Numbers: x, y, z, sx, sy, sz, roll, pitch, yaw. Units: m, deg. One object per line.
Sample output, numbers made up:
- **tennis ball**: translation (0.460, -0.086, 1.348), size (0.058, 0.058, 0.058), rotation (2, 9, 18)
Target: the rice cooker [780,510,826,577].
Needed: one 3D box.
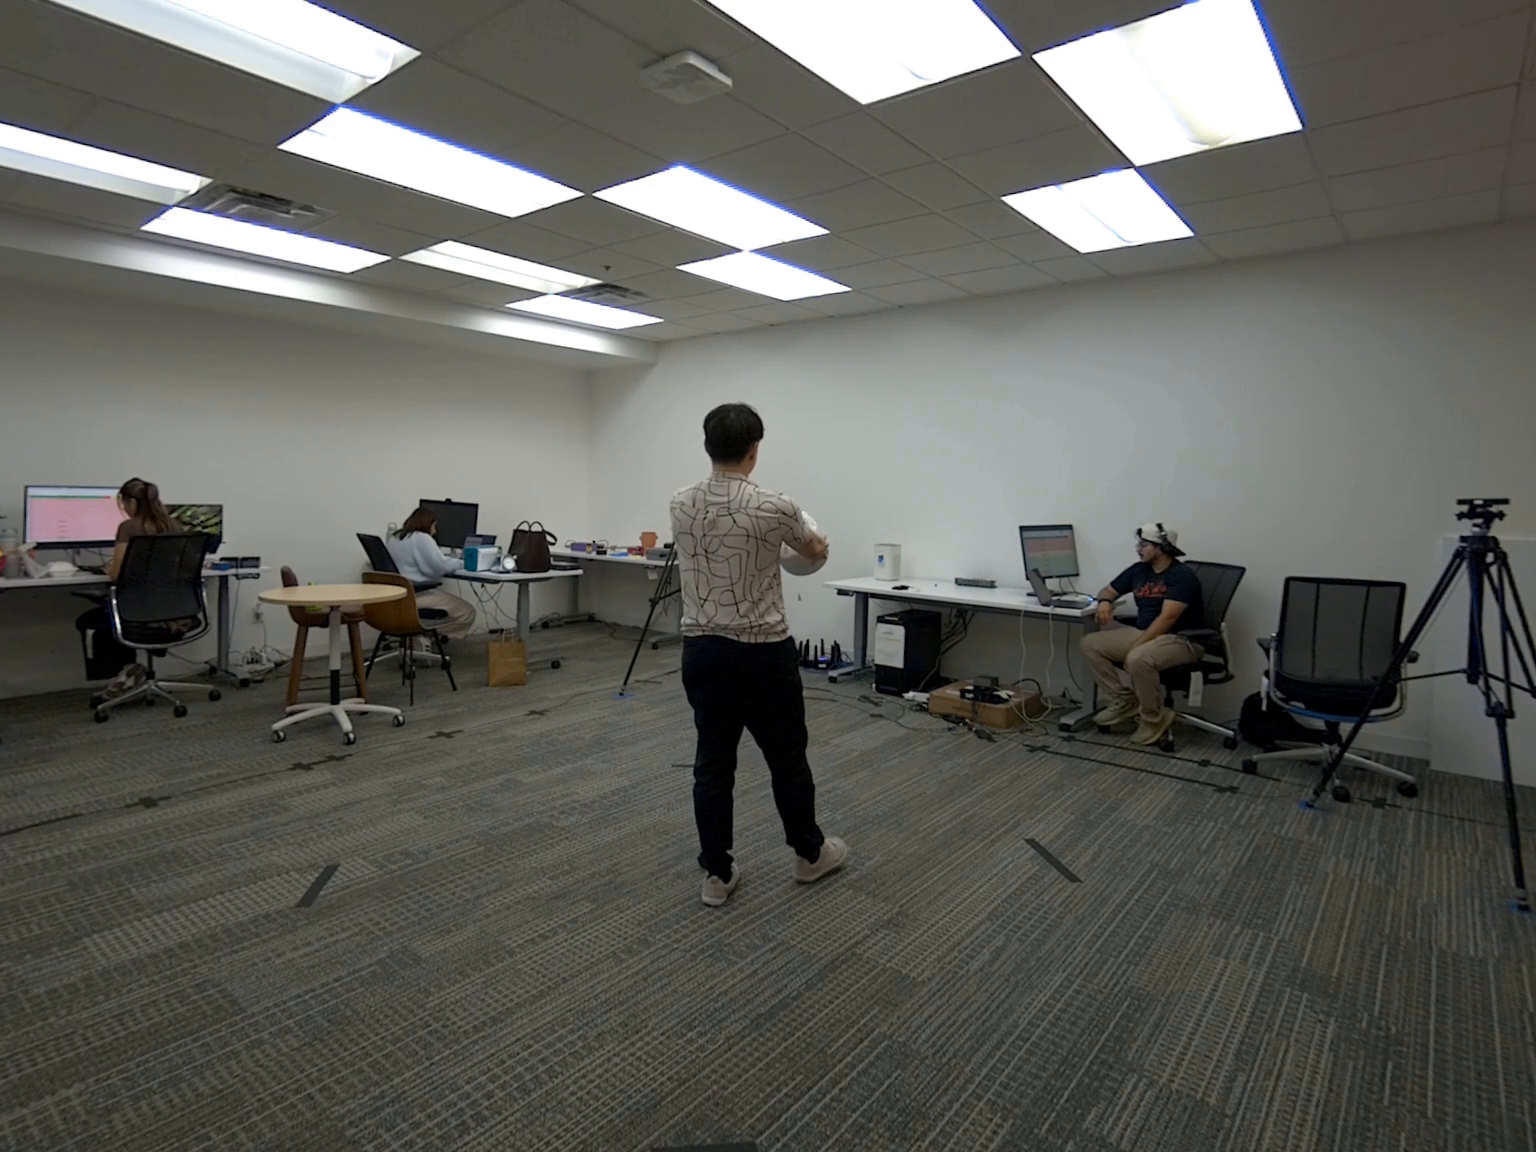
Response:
- **rice cooker**: translation (0.116, -0.140, 3.394), size (0.224, 0.223, 0.223), rotation (7, -26, 26)
